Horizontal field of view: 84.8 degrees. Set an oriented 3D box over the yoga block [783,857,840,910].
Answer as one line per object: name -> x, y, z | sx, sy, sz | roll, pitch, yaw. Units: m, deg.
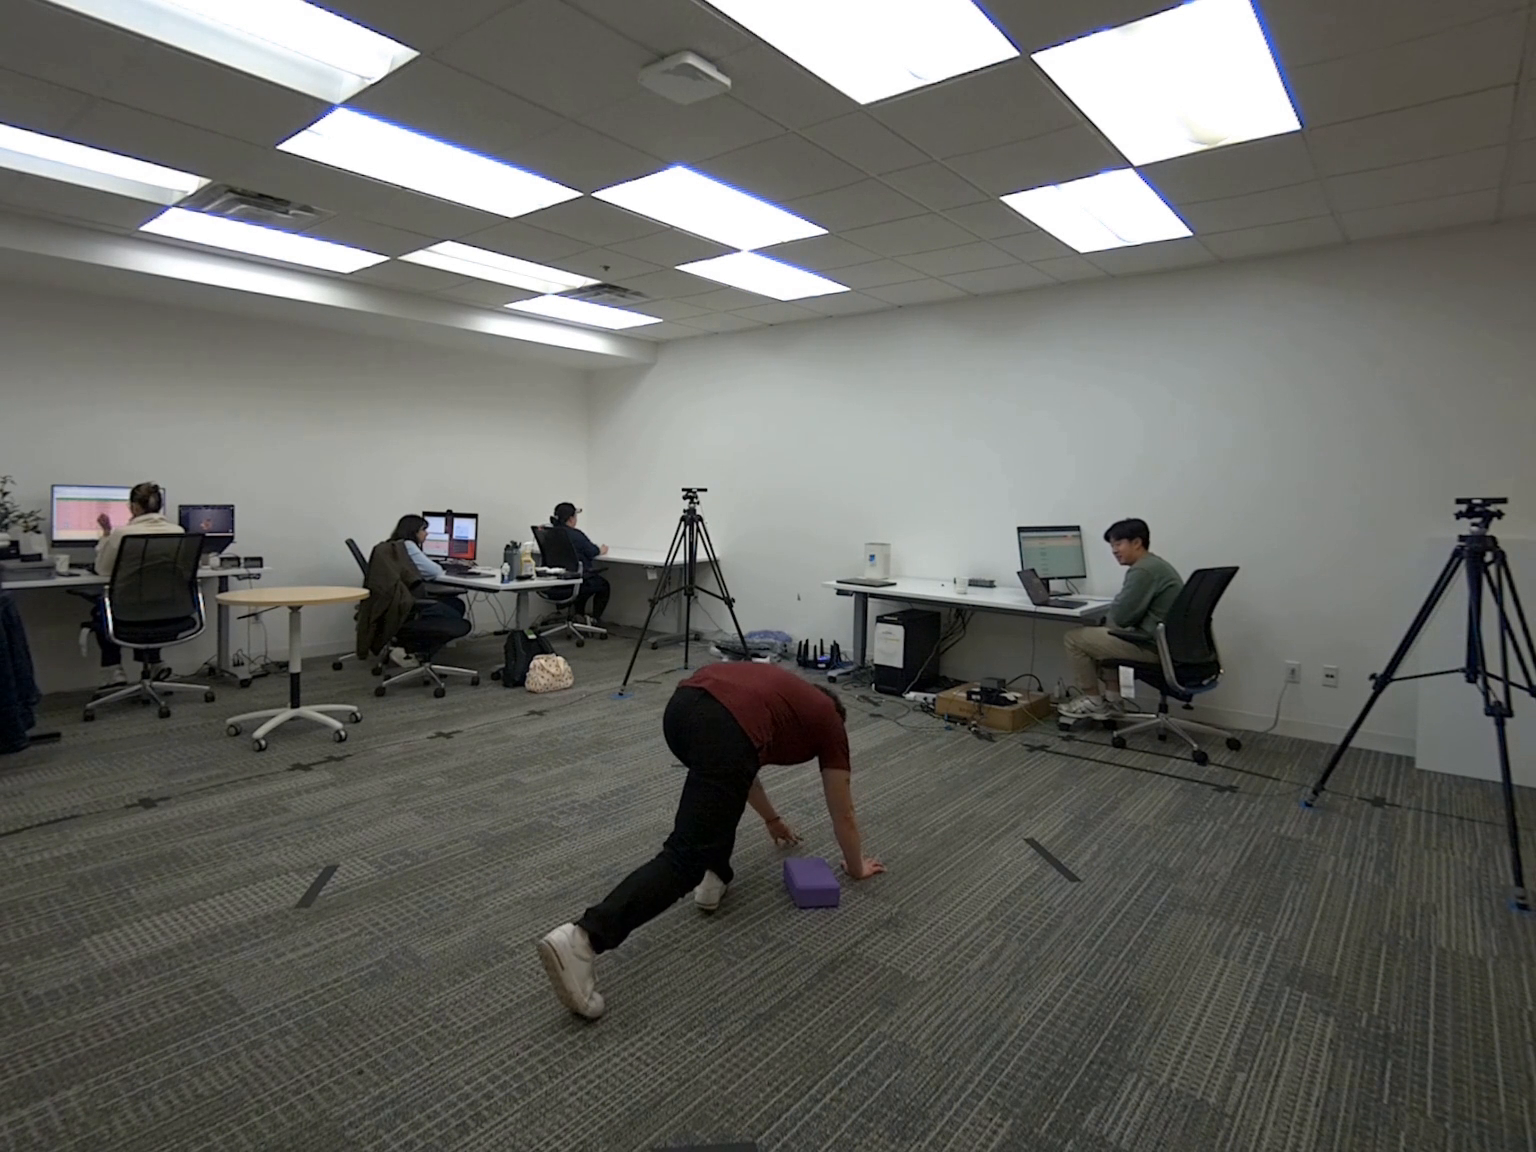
yoga block -> 0.140, 1.058, 2.933 | 0.147, 0.076, 0.233 | 0, 6, -10
